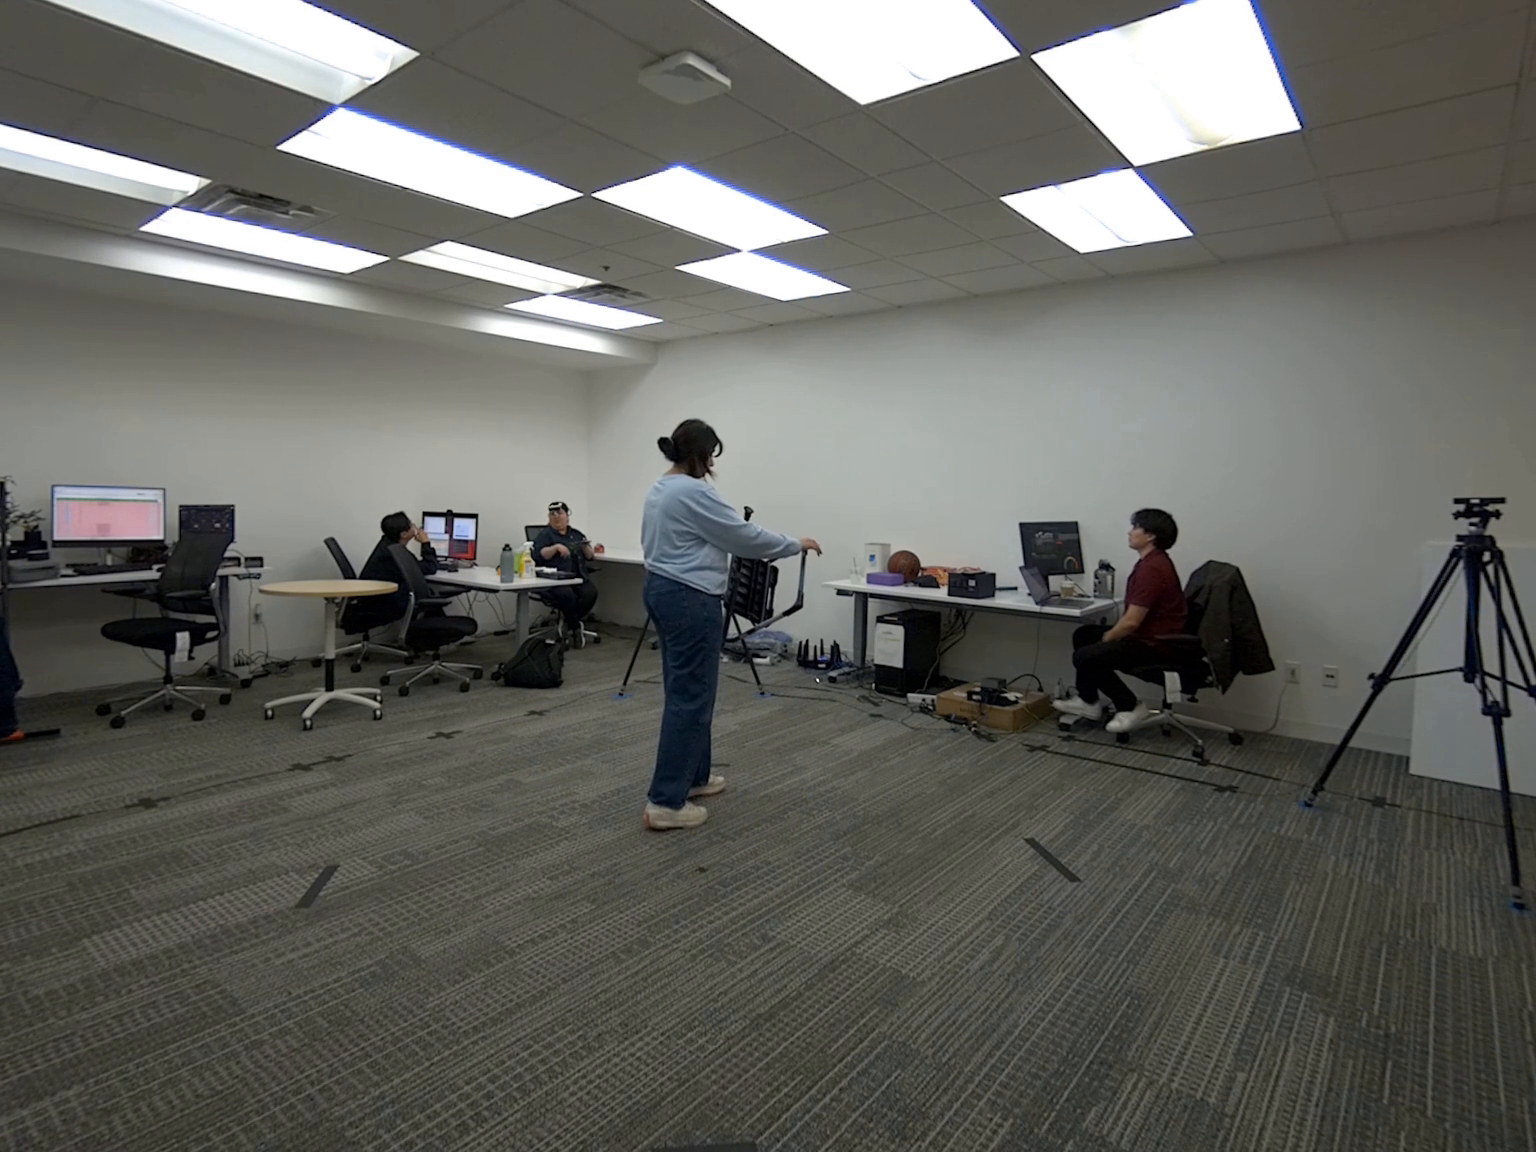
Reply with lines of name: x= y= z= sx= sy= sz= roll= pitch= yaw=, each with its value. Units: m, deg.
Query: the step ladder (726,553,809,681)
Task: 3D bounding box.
step ladder: x=-0.136 y=0.072 z=3.950 sx=0.342 sy=0.440 sz=0.606 roll=27 pitch=-44 yaw=-17
